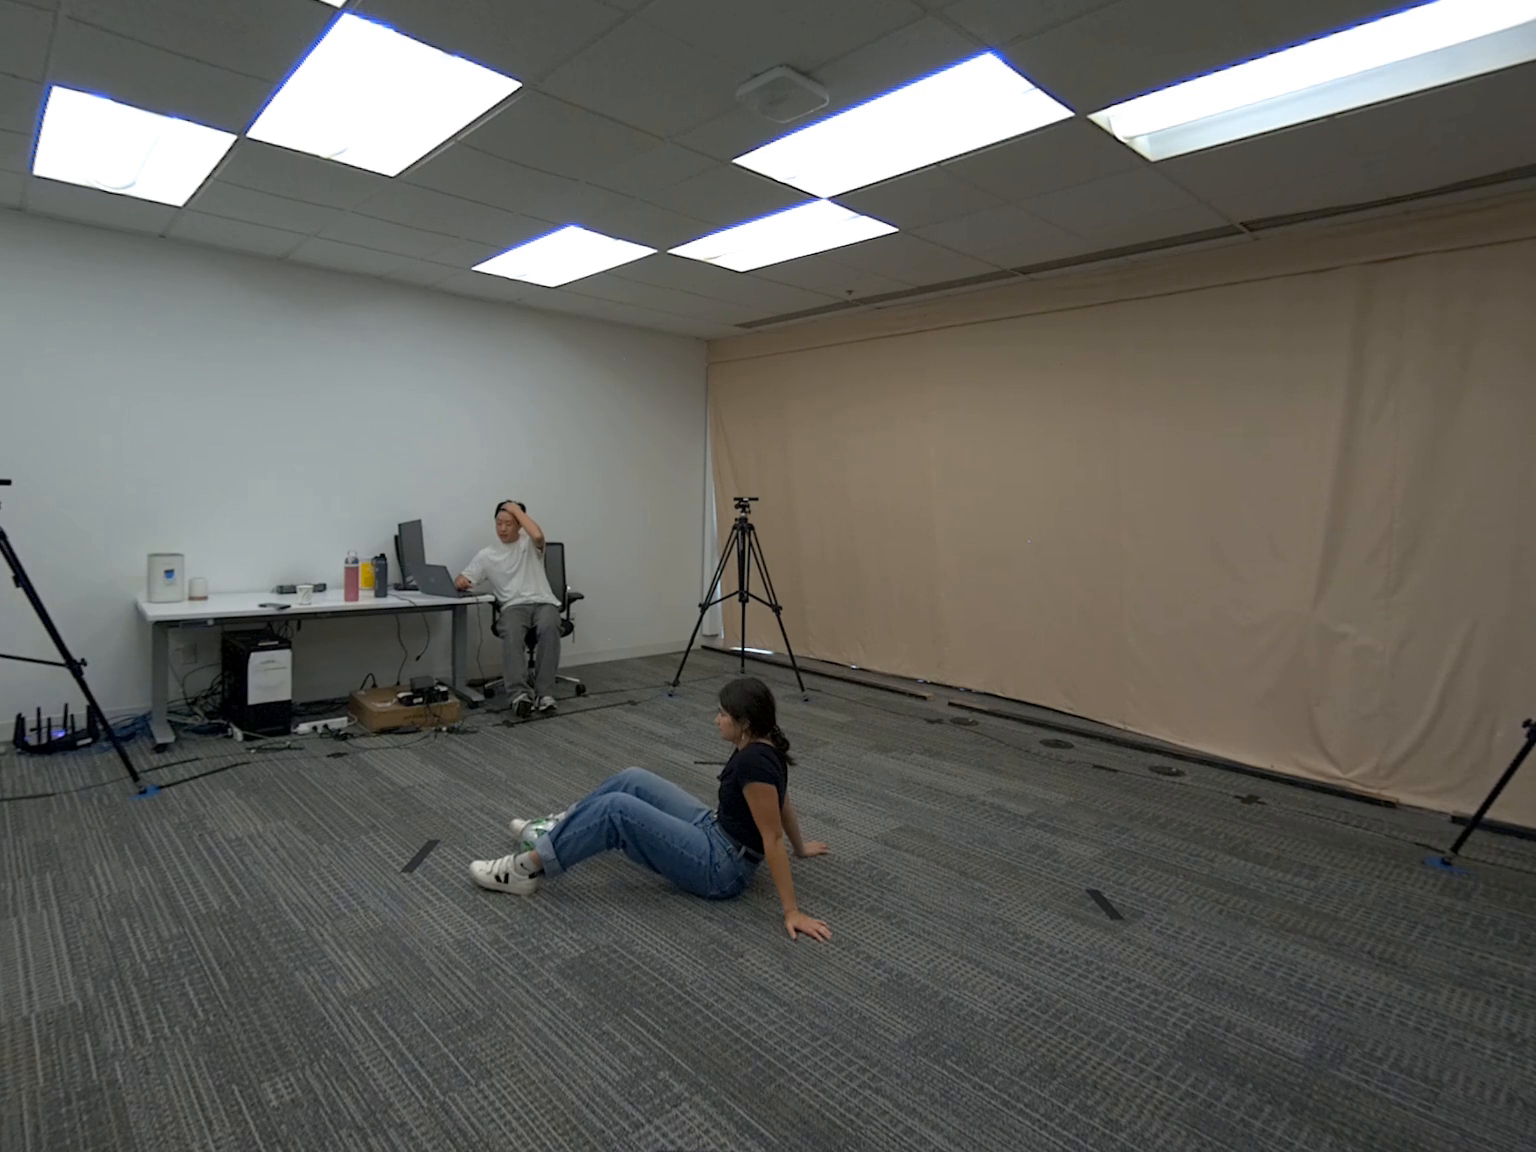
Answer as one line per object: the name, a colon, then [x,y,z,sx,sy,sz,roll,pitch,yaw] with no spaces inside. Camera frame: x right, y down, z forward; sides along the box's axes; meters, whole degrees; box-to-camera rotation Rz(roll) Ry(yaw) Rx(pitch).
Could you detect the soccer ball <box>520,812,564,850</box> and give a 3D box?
soccer ball: [-0.835,0.992,3.130,0.187,0.186,0.188,1,7,-1]
